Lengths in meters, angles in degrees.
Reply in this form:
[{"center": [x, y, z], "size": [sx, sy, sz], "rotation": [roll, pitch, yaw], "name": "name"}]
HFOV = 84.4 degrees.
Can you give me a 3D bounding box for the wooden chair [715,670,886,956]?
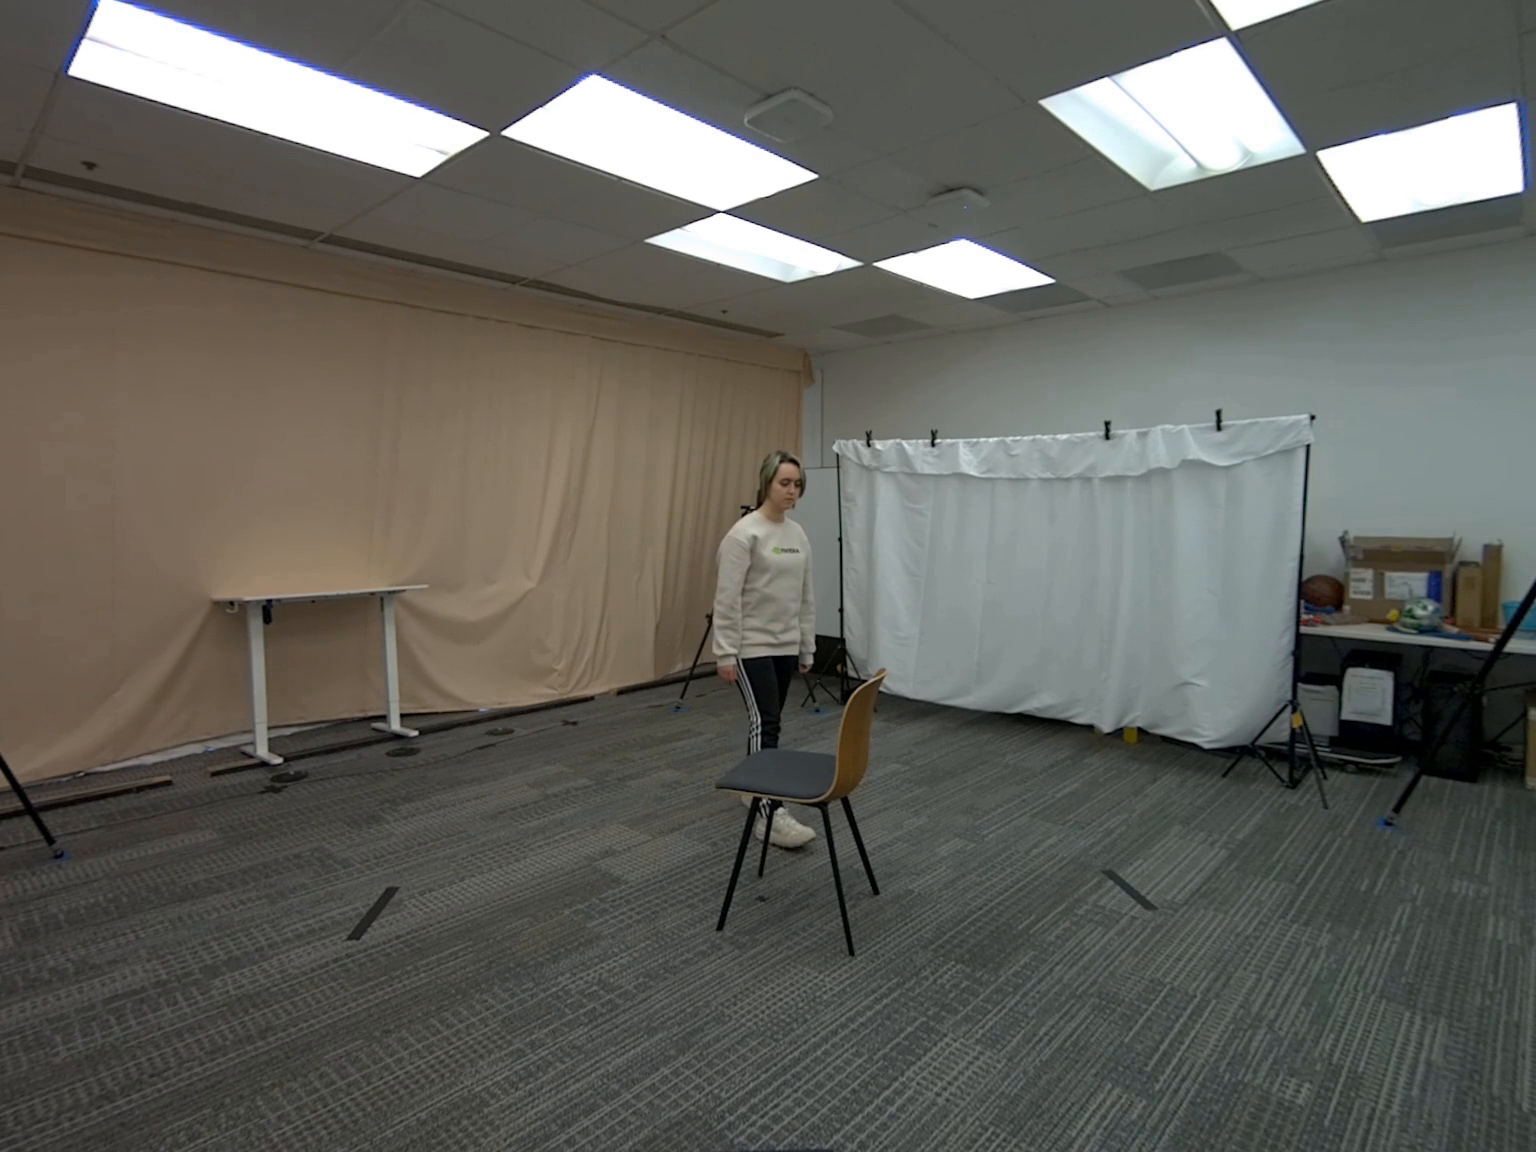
[{"center": [0.105, 0.721, 2.861], "size": [0.535, 0.875, 0.469], "rotation": [5, 5, 20], "name": "wooden chair"}]
